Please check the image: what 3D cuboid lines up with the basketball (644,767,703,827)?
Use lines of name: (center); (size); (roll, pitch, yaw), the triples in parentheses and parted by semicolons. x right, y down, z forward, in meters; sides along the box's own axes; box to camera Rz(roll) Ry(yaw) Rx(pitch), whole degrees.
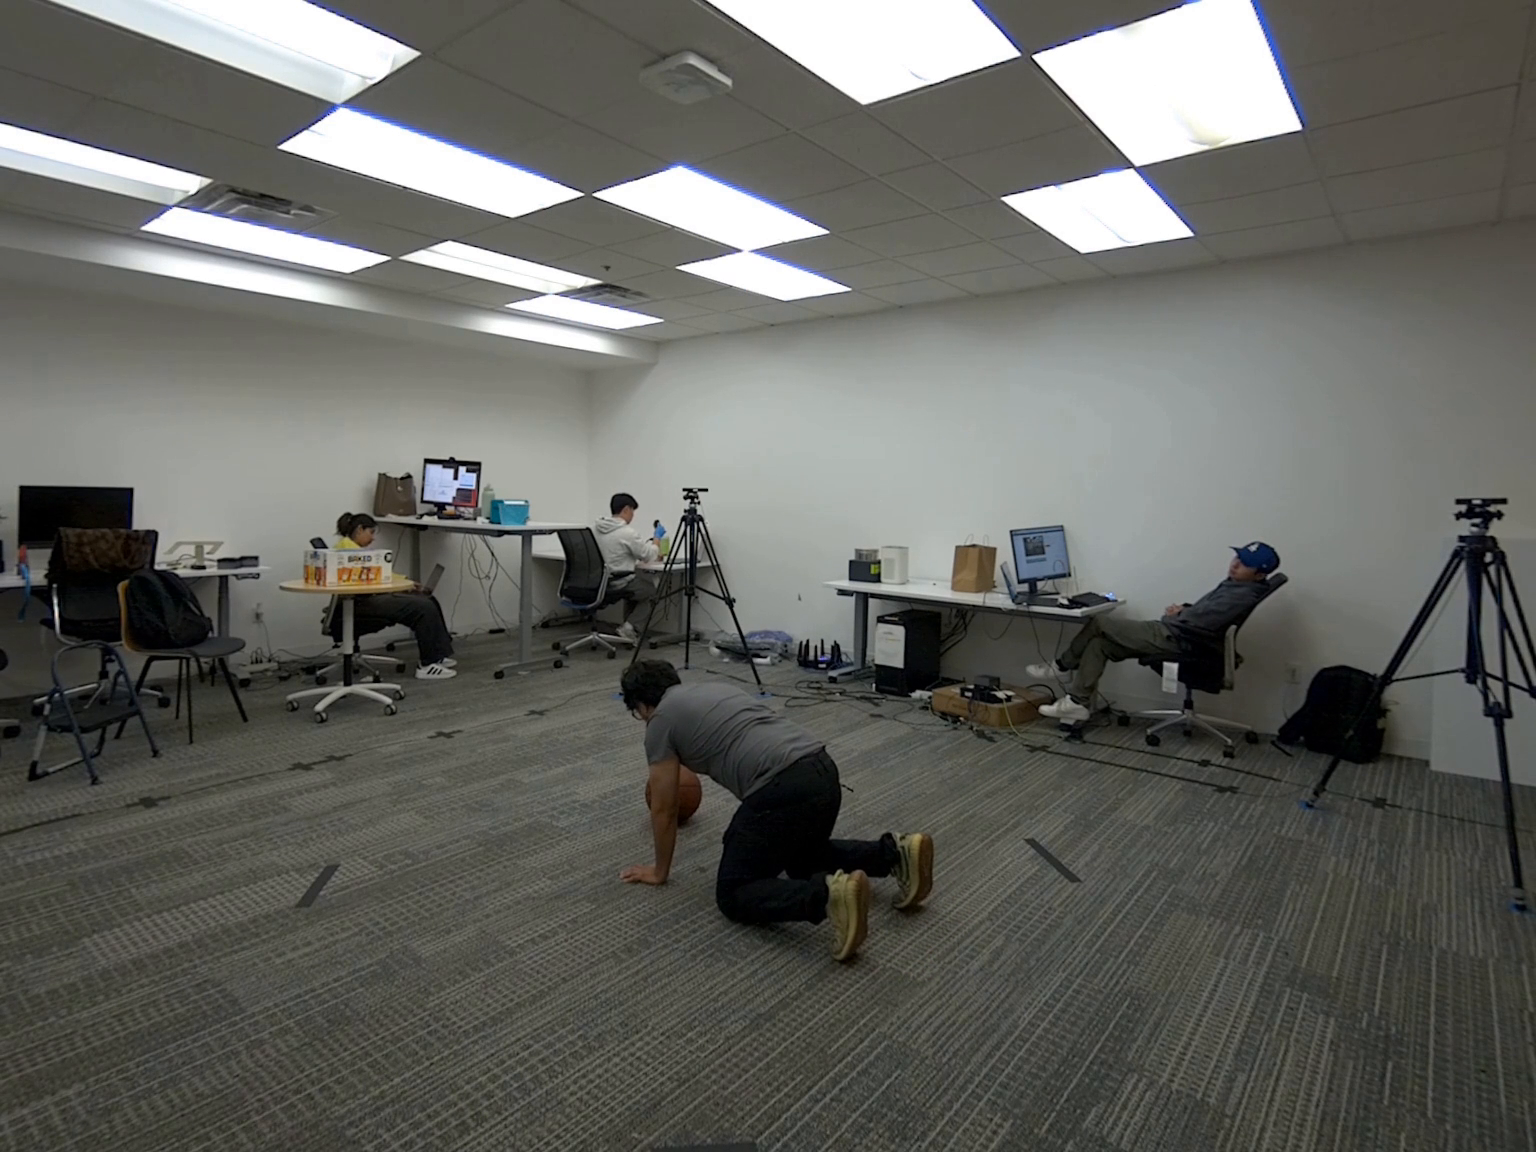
basketball: (-0.402, 0.902, 3.560); (0.235, 0.235, 0.237); (1, 4, -2)
